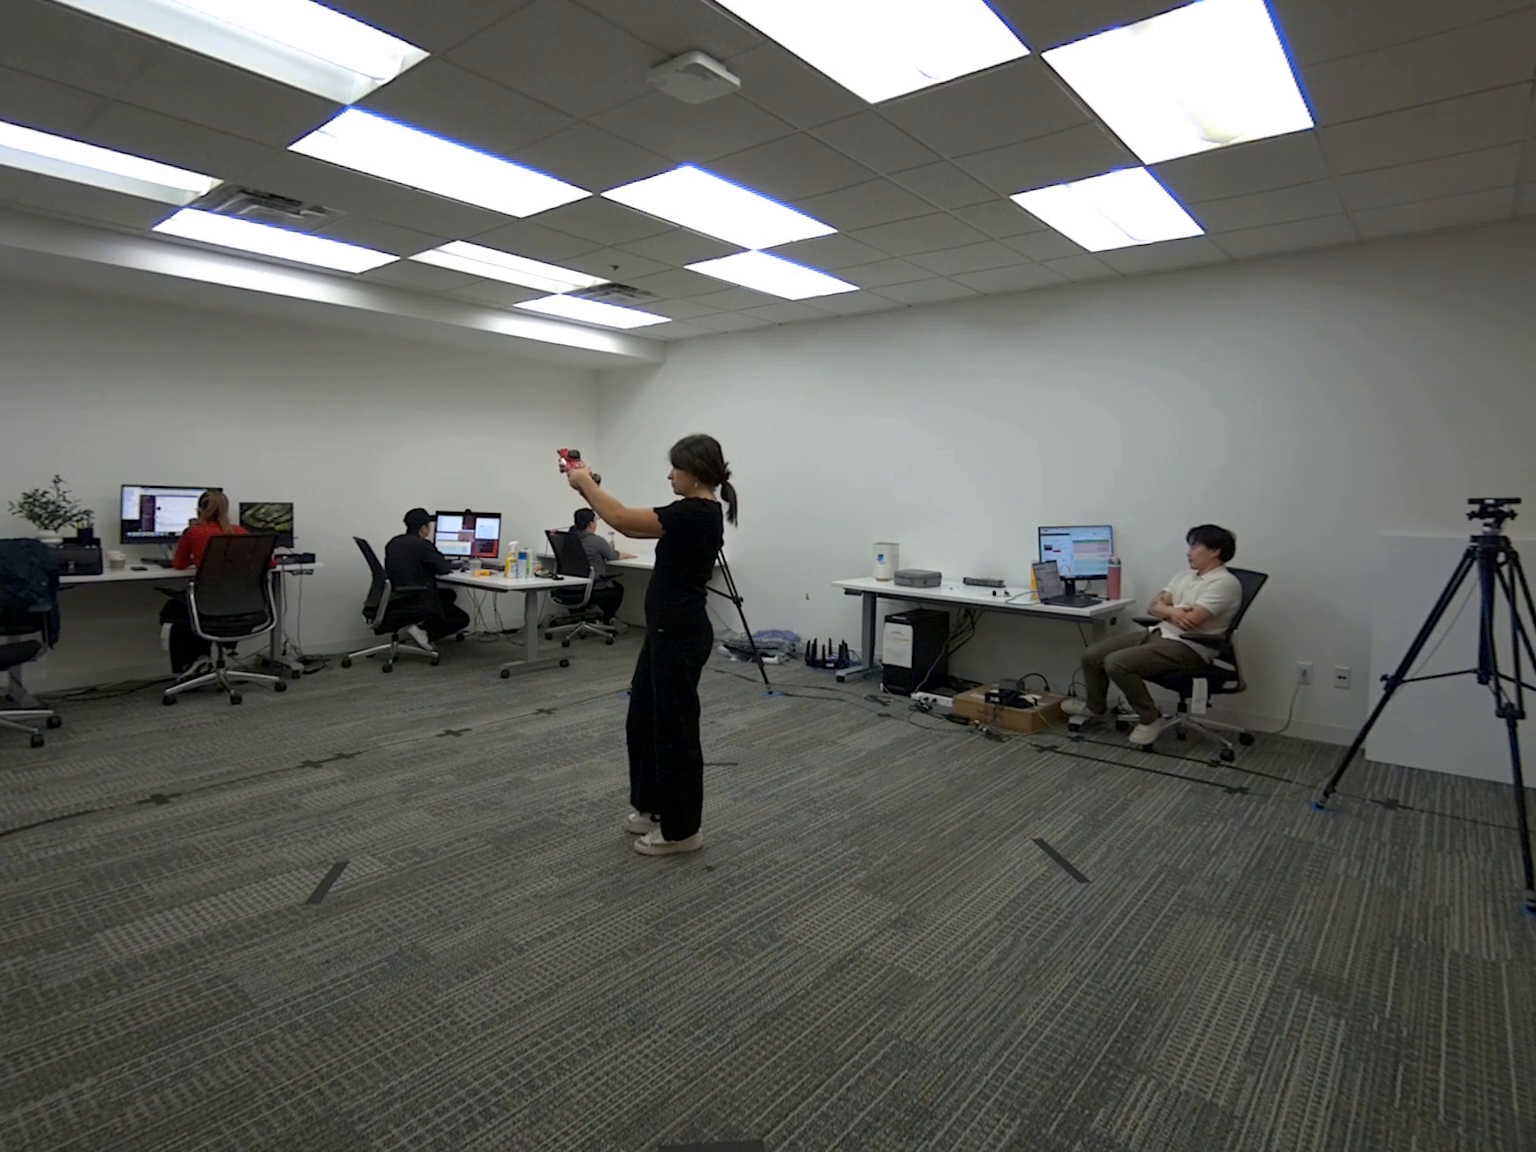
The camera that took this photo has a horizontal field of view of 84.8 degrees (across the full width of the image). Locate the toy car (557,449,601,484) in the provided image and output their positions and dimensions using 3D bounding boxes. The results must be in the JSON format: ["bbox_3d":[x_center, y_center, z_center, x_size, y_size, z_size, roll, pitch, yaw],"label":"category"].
[{"bbox_3d":[-0.732,-0.397,3.255,0.262,0.127,0.083,36,59,19],"label":"toy car"}]
